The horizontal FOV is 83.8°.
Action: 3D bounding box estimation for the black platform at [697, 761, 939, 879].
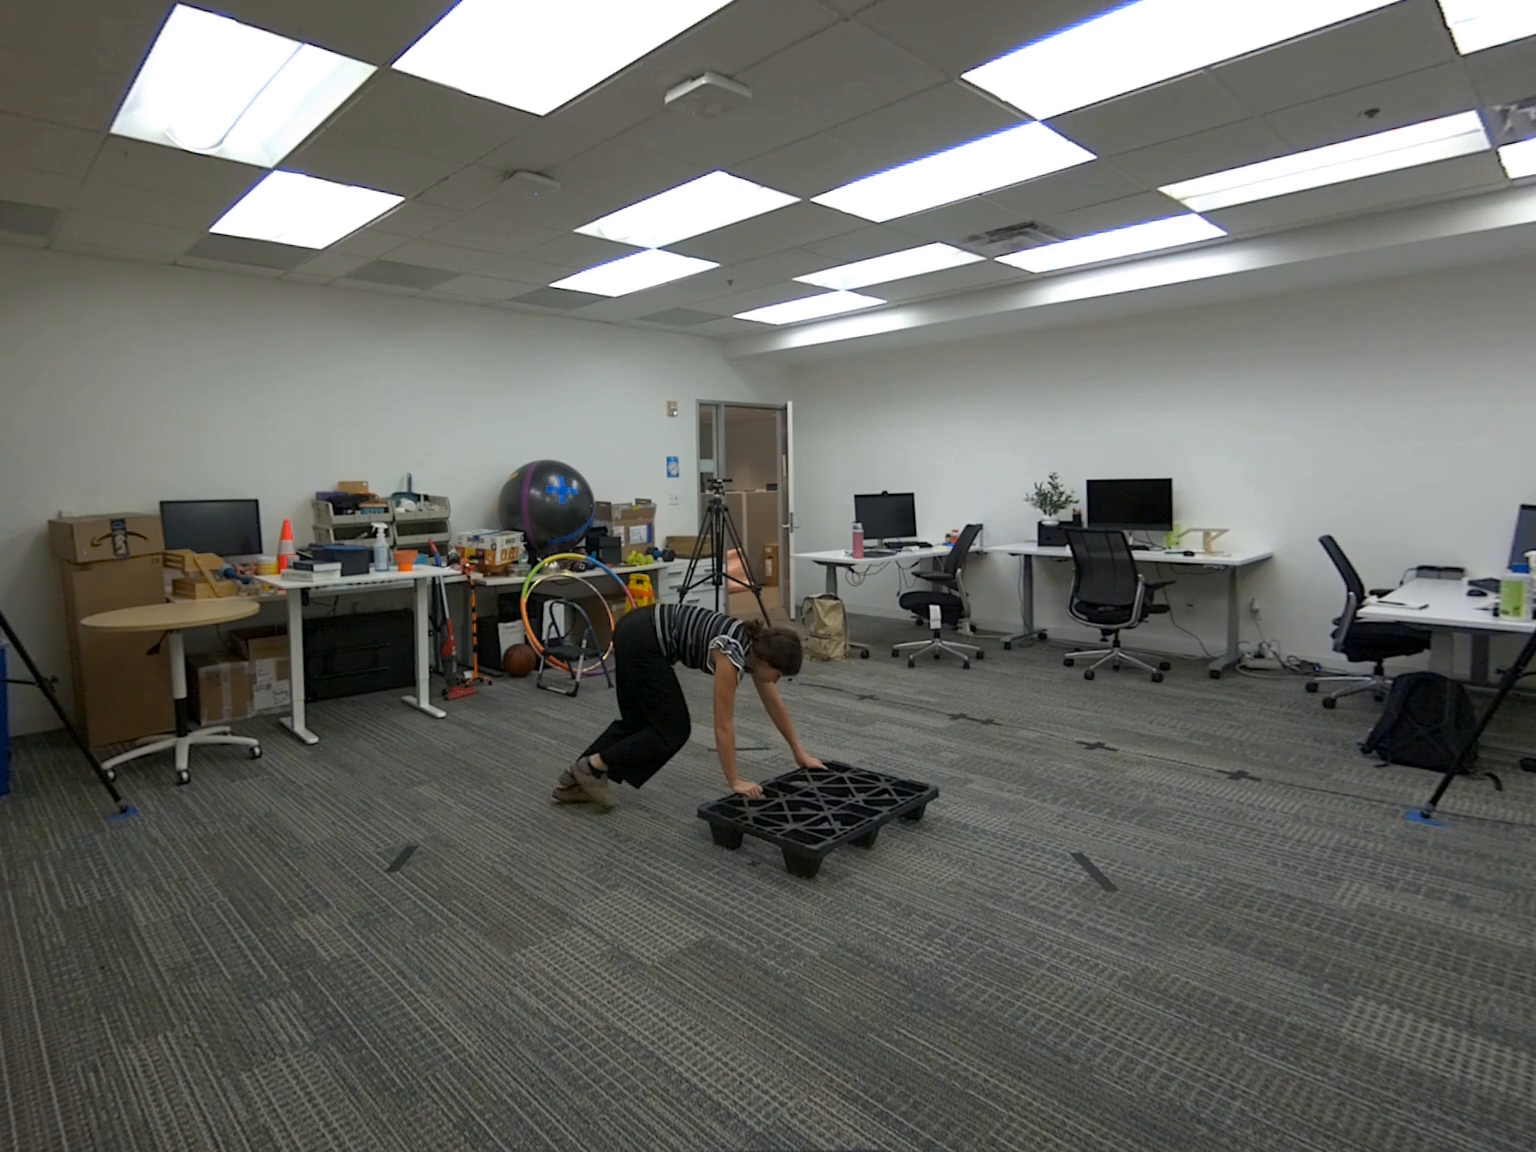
[{"bbox_3d":[0.211,0.941,3.375,0.624,0.143,0.785,4,9,43],"label":"black platform"}]
